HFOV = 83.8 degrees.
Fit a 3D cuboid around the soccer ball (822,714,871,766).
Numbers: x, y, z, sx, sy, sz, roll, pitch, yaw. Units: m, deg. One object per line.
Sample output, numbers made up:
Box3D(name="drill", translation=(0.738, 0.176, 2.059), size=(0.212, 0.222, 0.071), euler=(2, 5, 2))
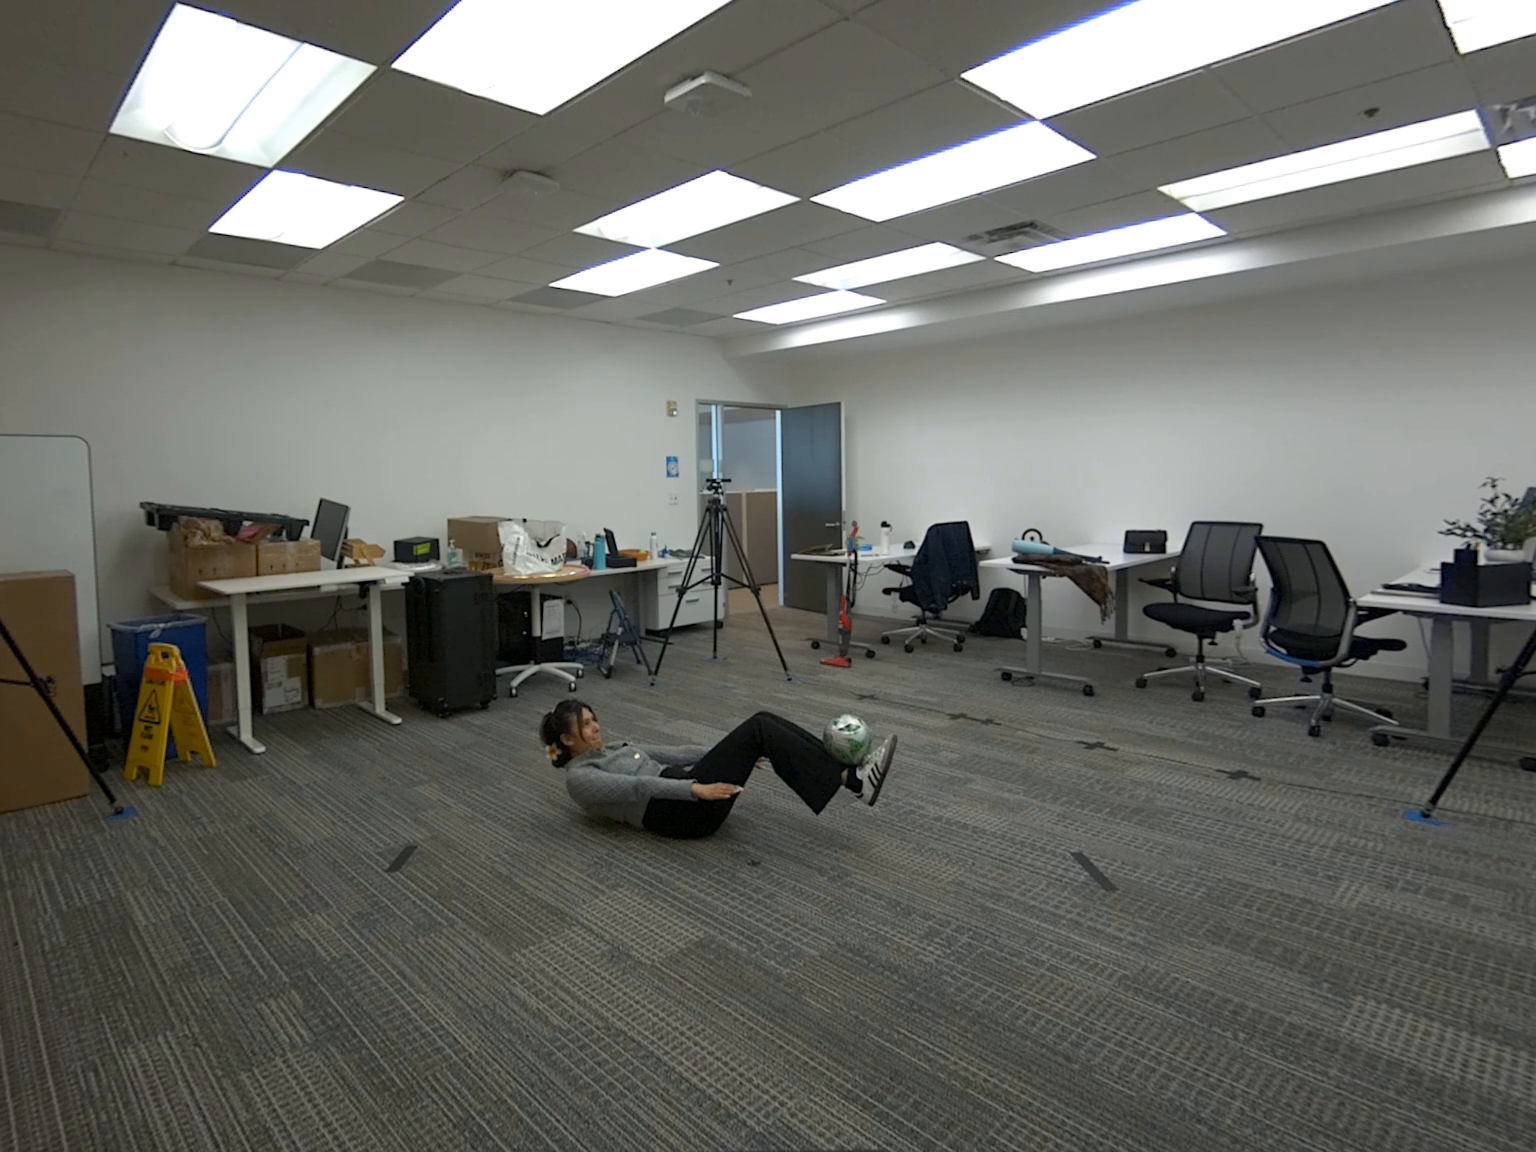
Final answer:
Box3D(name="soccer ball", translation=(0.306, 0.624, 3.246), size=(0.187, 0.187, 0.188), euler=(-1, 5, -2))
